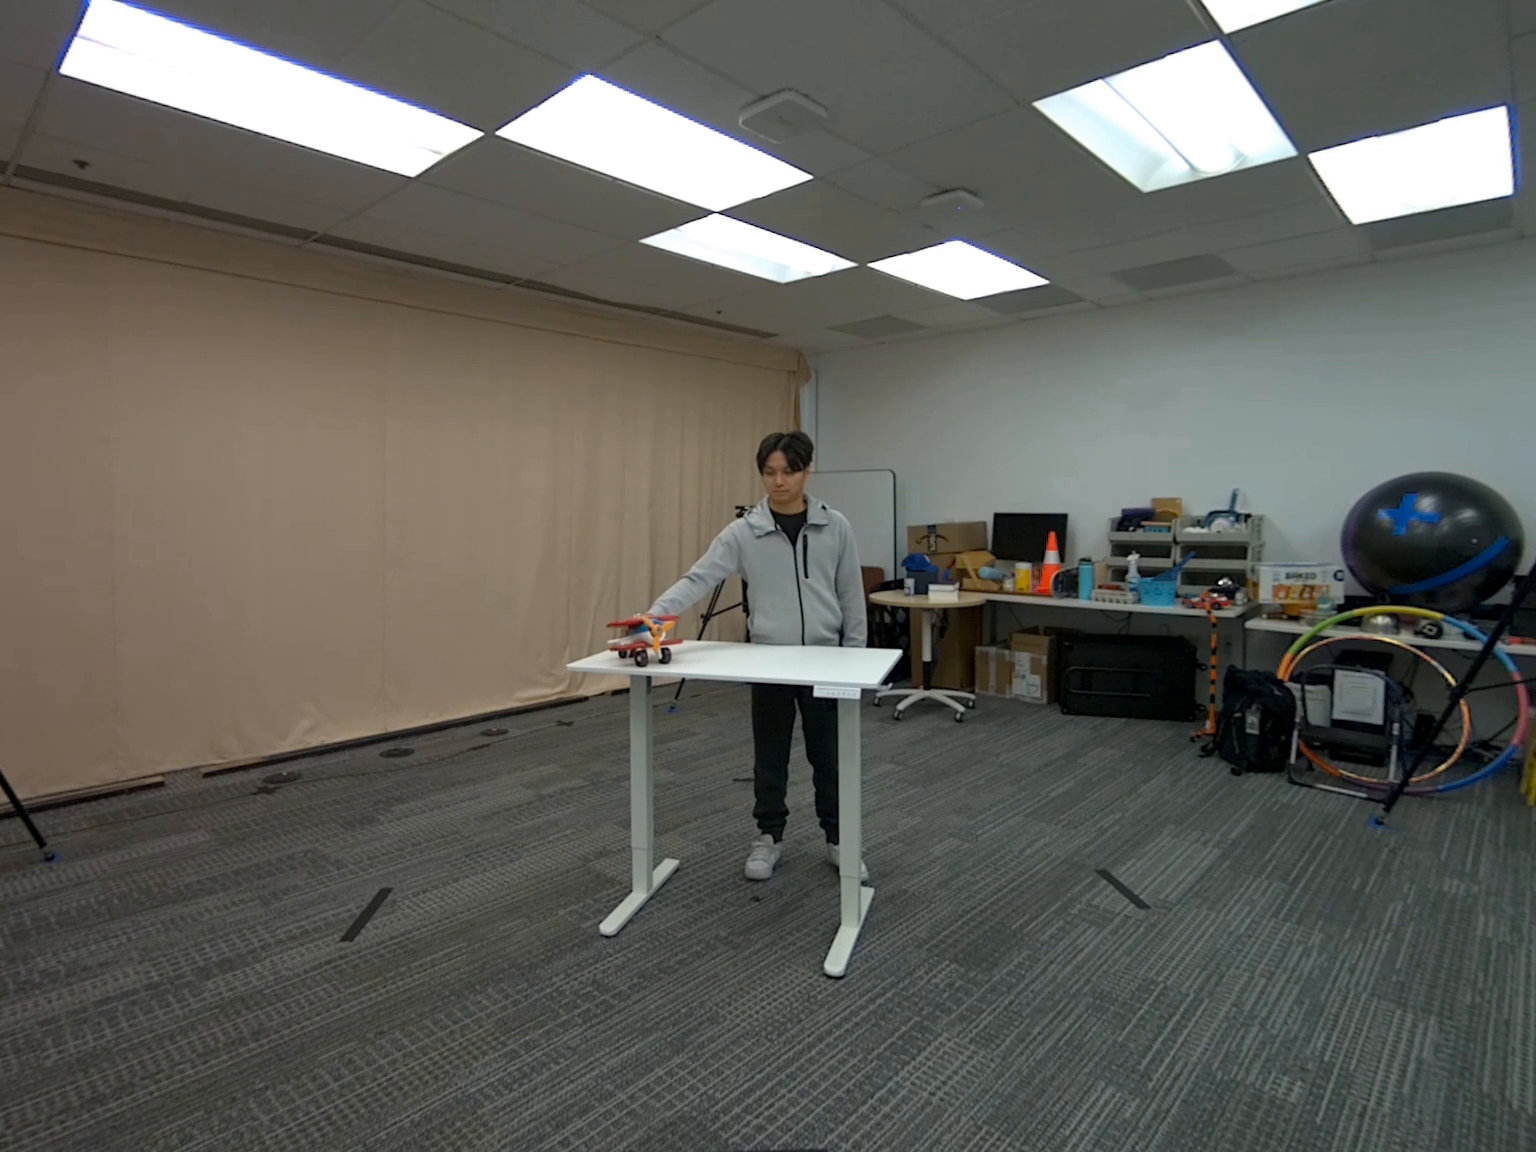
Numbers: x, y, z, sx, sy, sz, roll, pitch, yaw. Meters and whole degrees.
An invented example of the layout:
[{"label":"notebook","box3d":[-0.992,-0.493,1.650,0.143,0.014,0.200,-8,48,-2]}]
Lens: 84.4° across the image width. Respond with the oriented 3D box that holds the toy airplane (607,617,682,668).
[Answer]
[{"label":"toy airplane","box3d":[-0.430,0.209,2.766,0.266,0.156,0.245,2,3,26]}]
